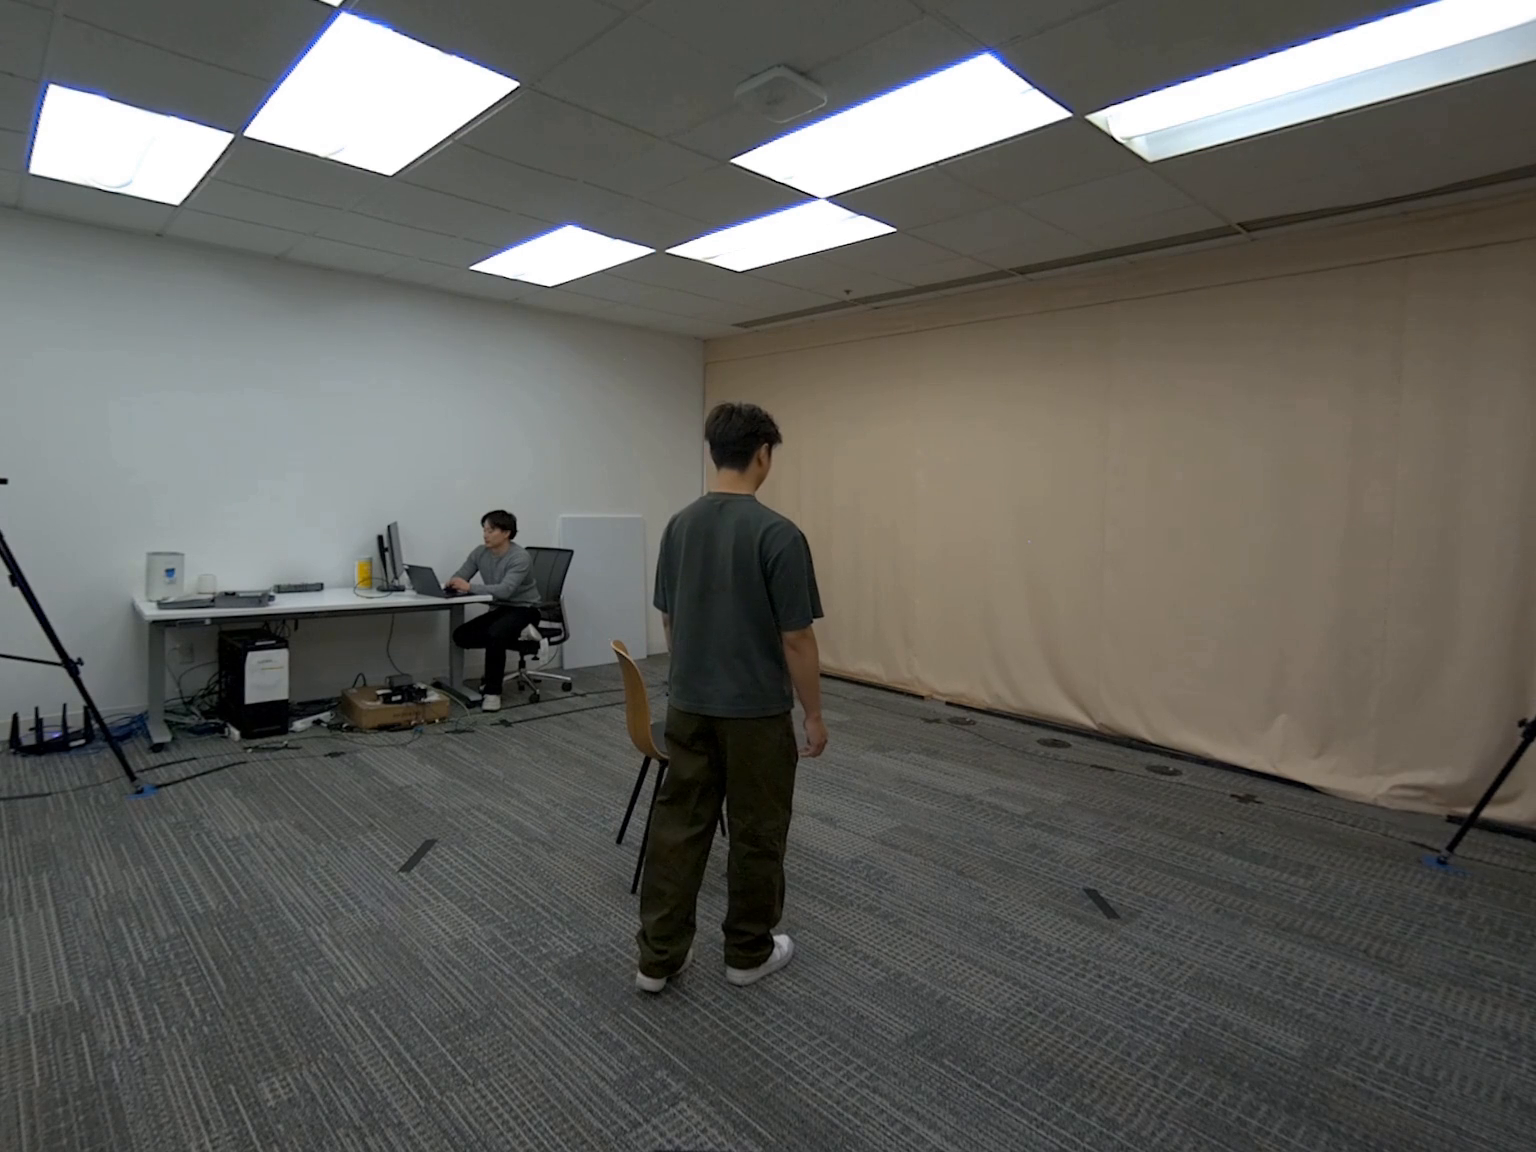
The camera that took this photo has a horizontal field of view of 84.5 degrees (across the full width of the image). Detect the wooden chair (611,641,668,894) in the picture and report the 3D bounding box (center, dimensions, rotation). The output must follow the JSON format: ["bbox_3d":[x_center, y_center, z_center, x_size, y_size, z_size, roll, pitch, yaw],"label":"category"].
[{"bbox_3d":[-0.315,0.667,3.187,0.517,0.874,0.485,-4,5,-16],"label":"wooden chair"}]
